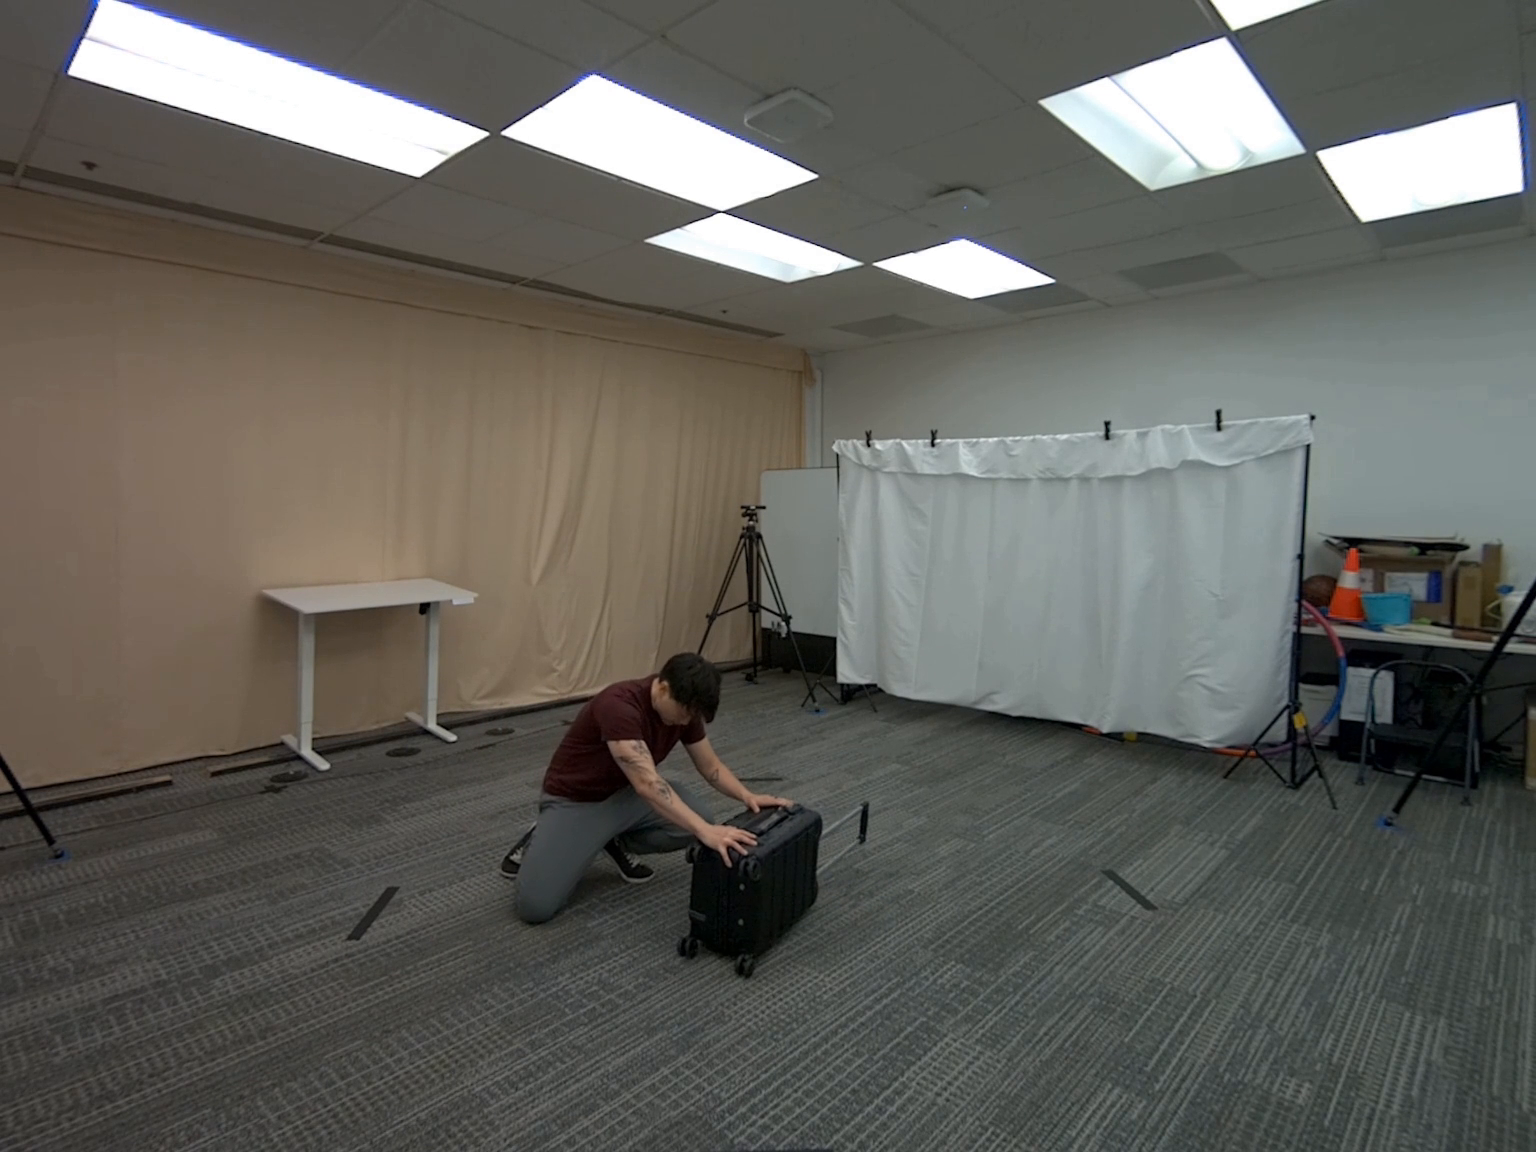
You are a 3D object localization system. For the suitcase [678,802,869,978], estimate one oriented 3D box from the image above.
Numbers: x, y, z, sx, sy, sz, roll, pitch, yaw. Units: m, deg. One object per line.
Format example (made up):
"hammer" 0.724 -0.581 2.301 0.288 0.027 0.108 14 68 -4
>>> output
"suitcase" 0.068 0.970 2.927 0.264 0.383 0.952 4 4 29
